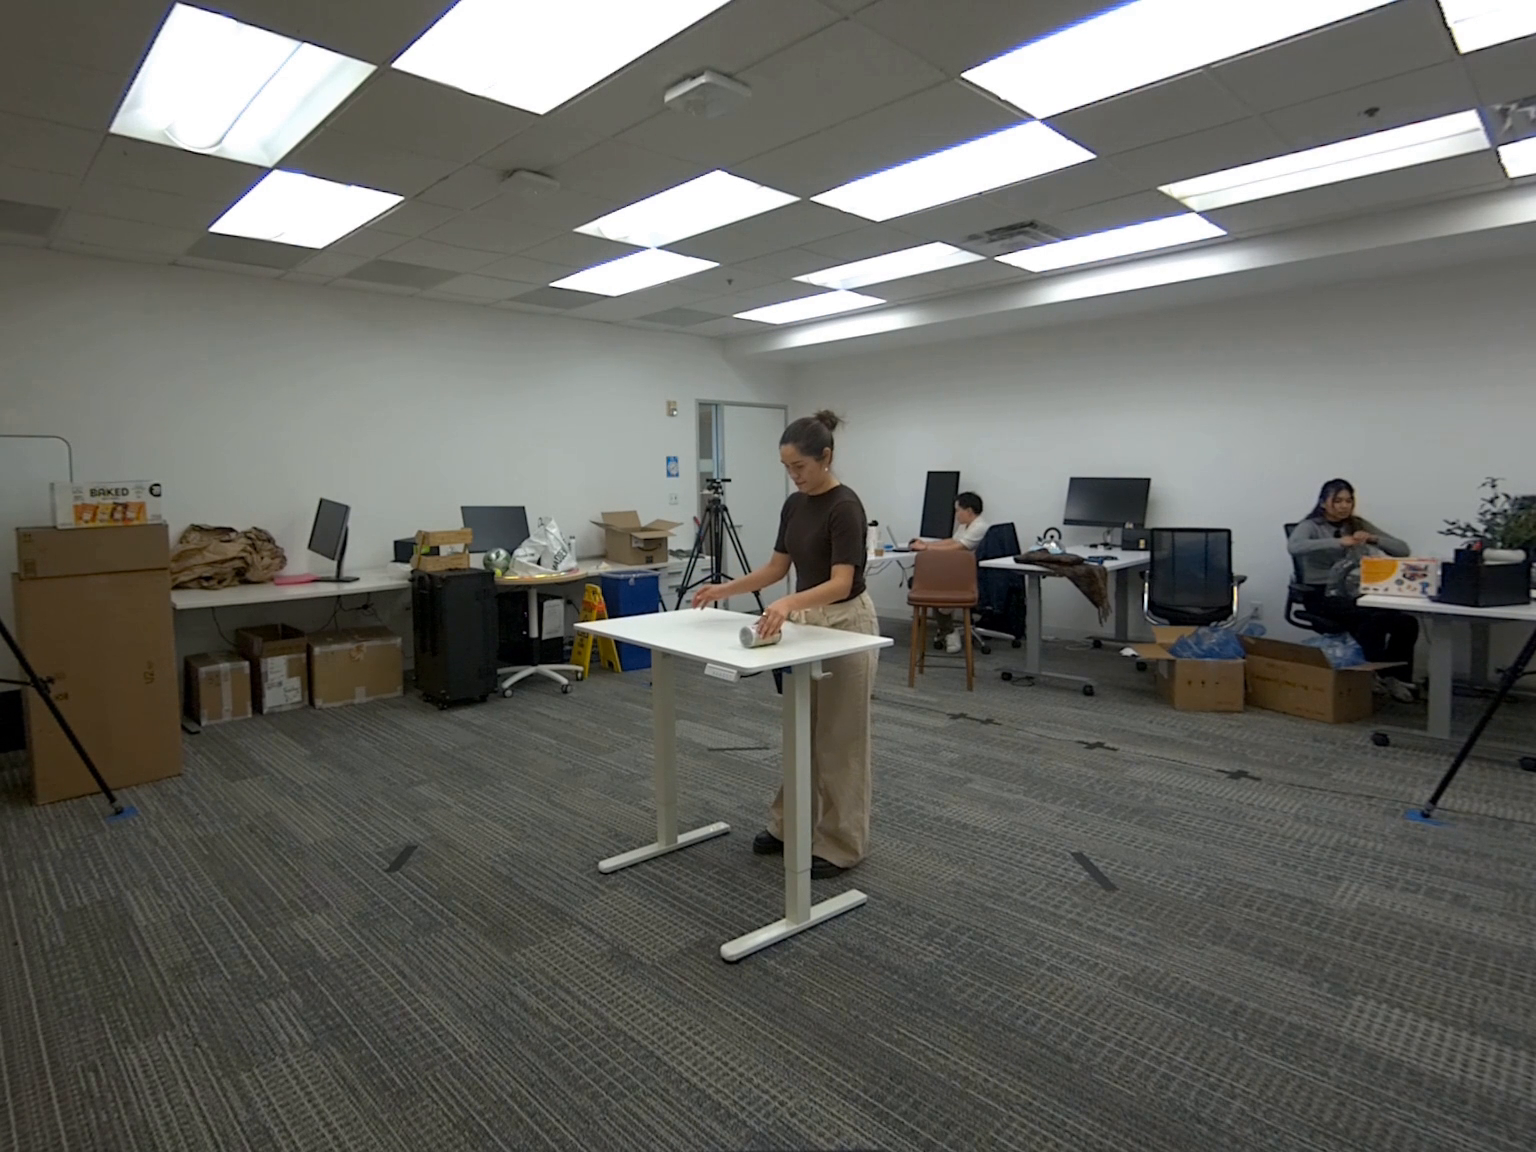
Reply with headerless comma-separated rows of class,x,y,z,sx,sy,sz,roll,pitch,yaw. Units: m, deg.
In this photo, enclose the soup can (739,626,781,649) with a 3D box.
soup can,-0.019,0.183,2.619,0.119,0.067,0.069,-5,6,-31
